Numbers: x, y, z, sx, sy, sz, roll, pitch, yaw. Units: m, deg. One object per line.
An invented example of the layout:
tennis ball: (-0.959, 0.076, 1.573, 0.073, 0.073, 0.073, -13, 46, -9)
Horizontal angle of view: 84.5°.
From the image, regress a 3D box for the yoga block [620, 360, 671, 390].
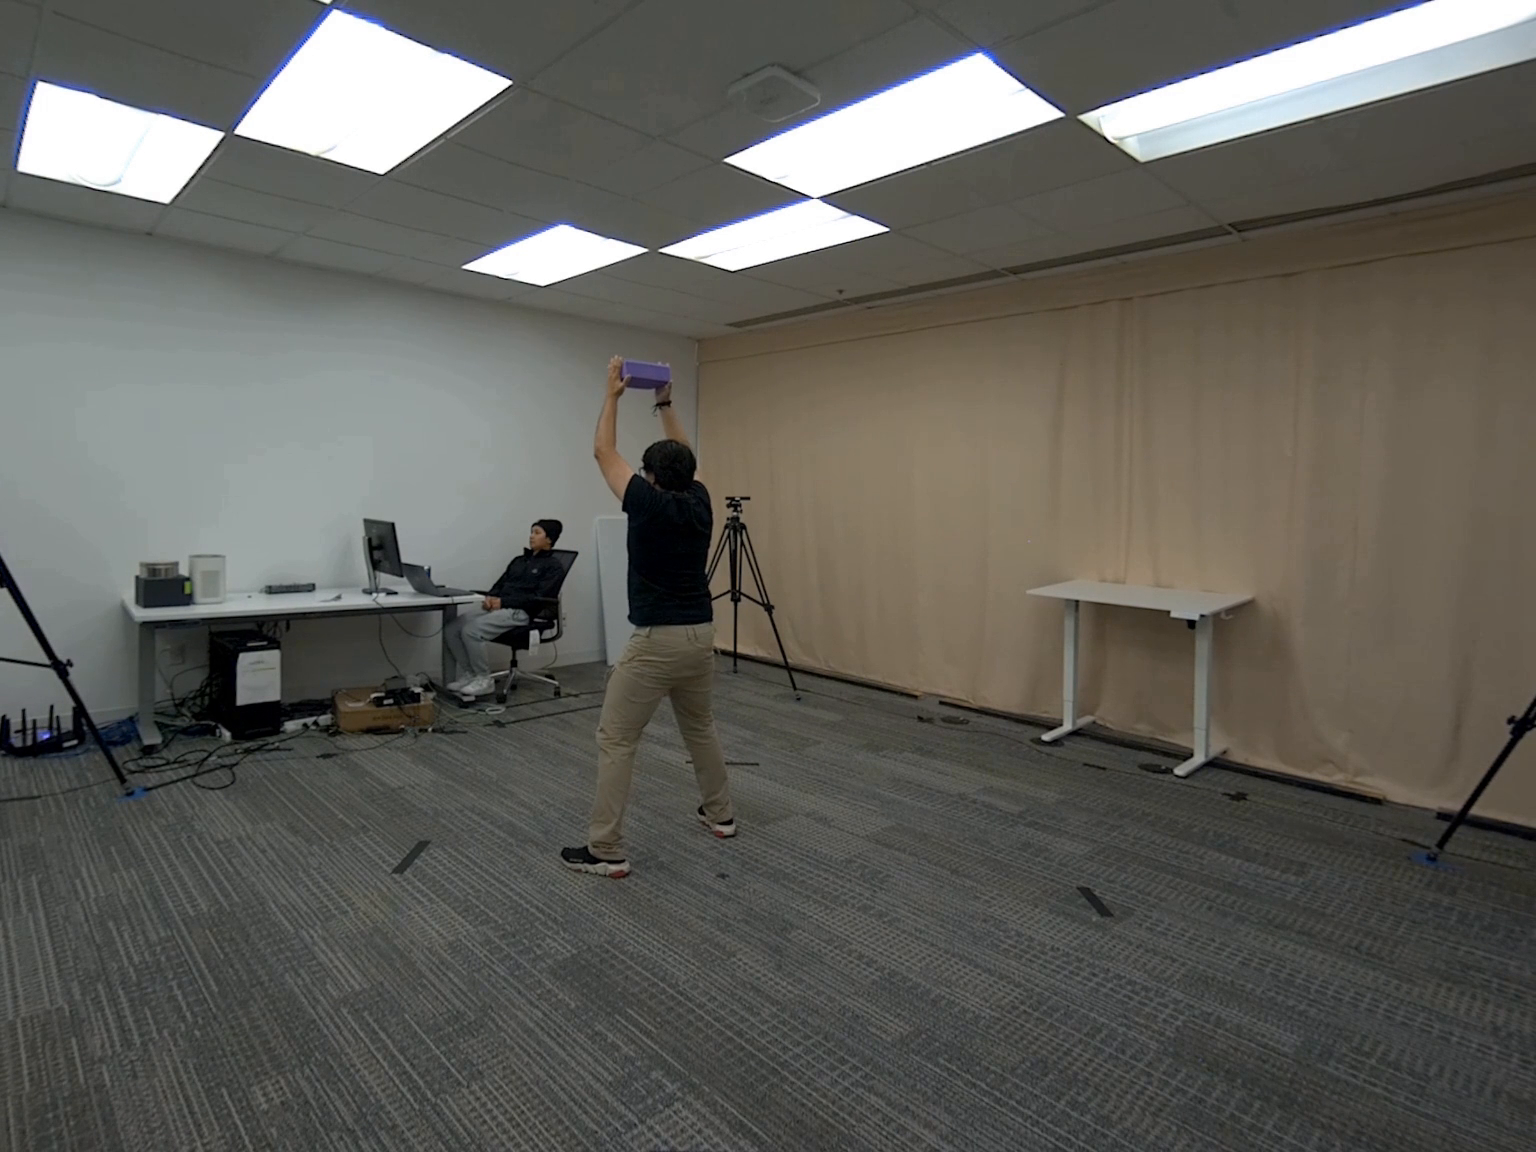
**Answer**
yoga block: (-0.541, -0.826, 3.474, 0.152, 0.076, 0.224, -5, 0, 45)
